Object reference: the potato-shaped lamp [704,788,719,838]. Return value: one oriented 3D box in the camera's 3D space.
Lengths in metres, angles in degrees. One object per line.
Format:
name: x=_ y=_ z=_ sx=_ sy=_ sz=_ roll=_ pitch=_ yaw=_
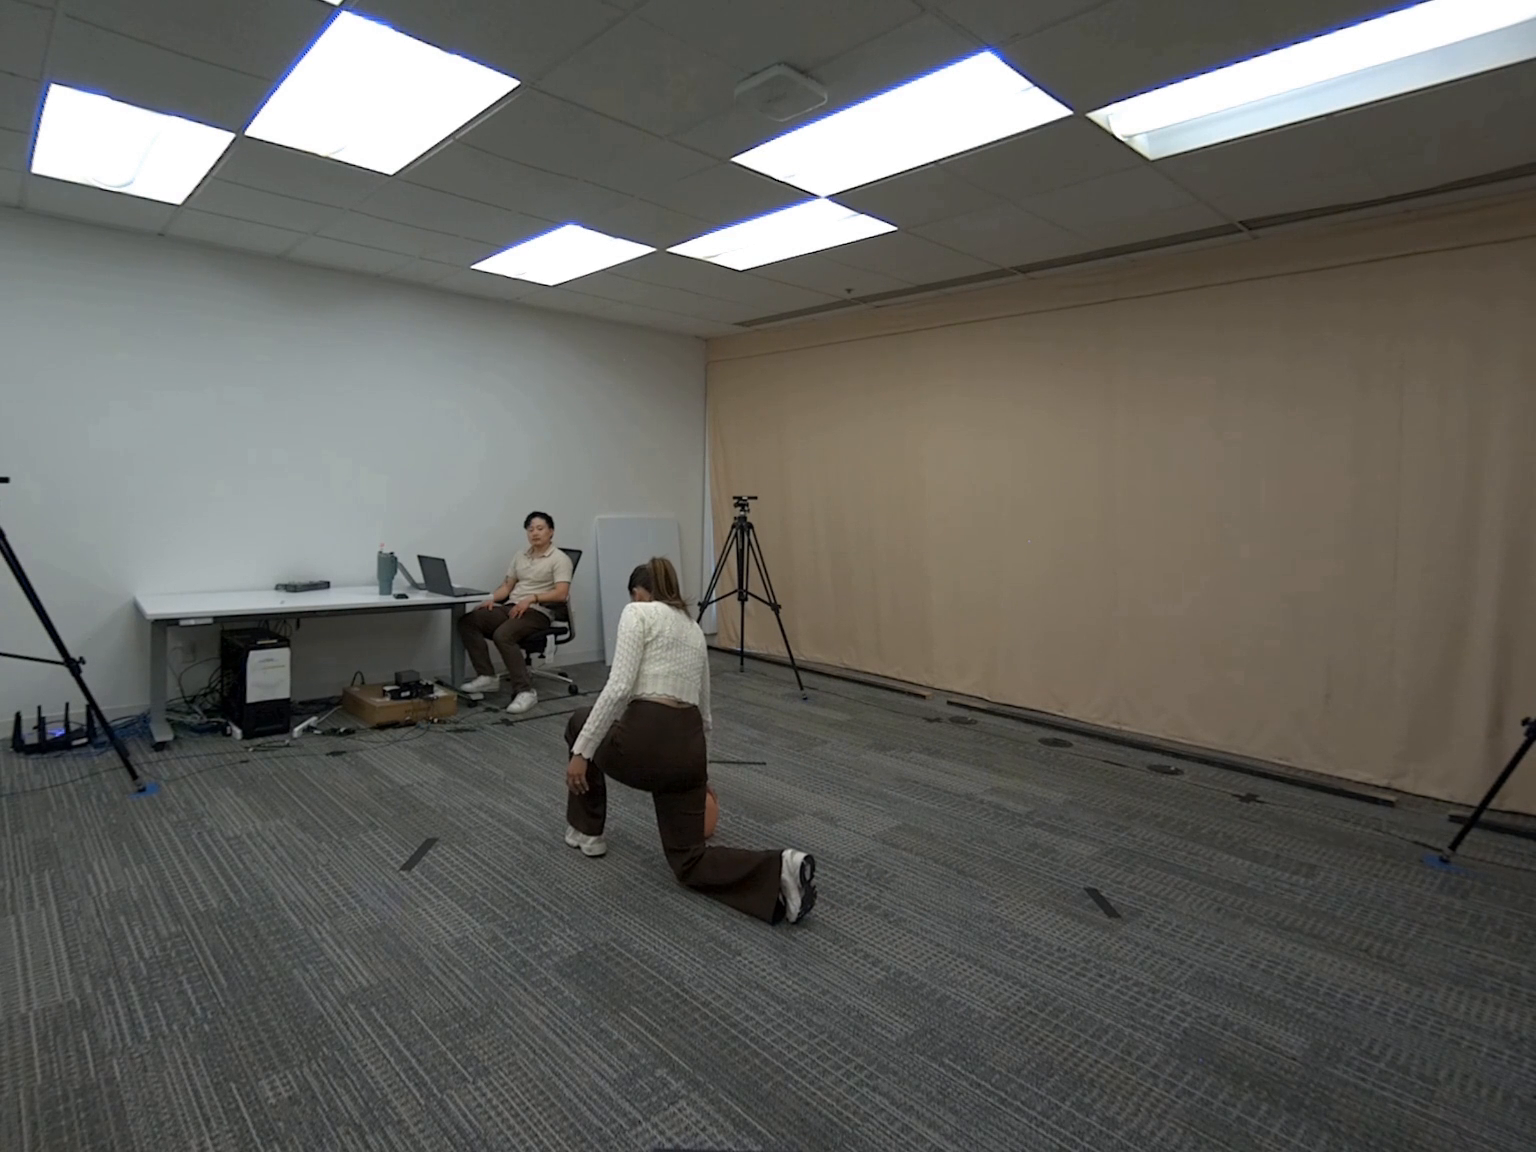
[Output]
potato-shaped lamp: x=-0.291 y=0.970 z=3.459 sx=0.167 sy=0.197 sz=0.169 roll=3 pitch=12 yaw=-33
